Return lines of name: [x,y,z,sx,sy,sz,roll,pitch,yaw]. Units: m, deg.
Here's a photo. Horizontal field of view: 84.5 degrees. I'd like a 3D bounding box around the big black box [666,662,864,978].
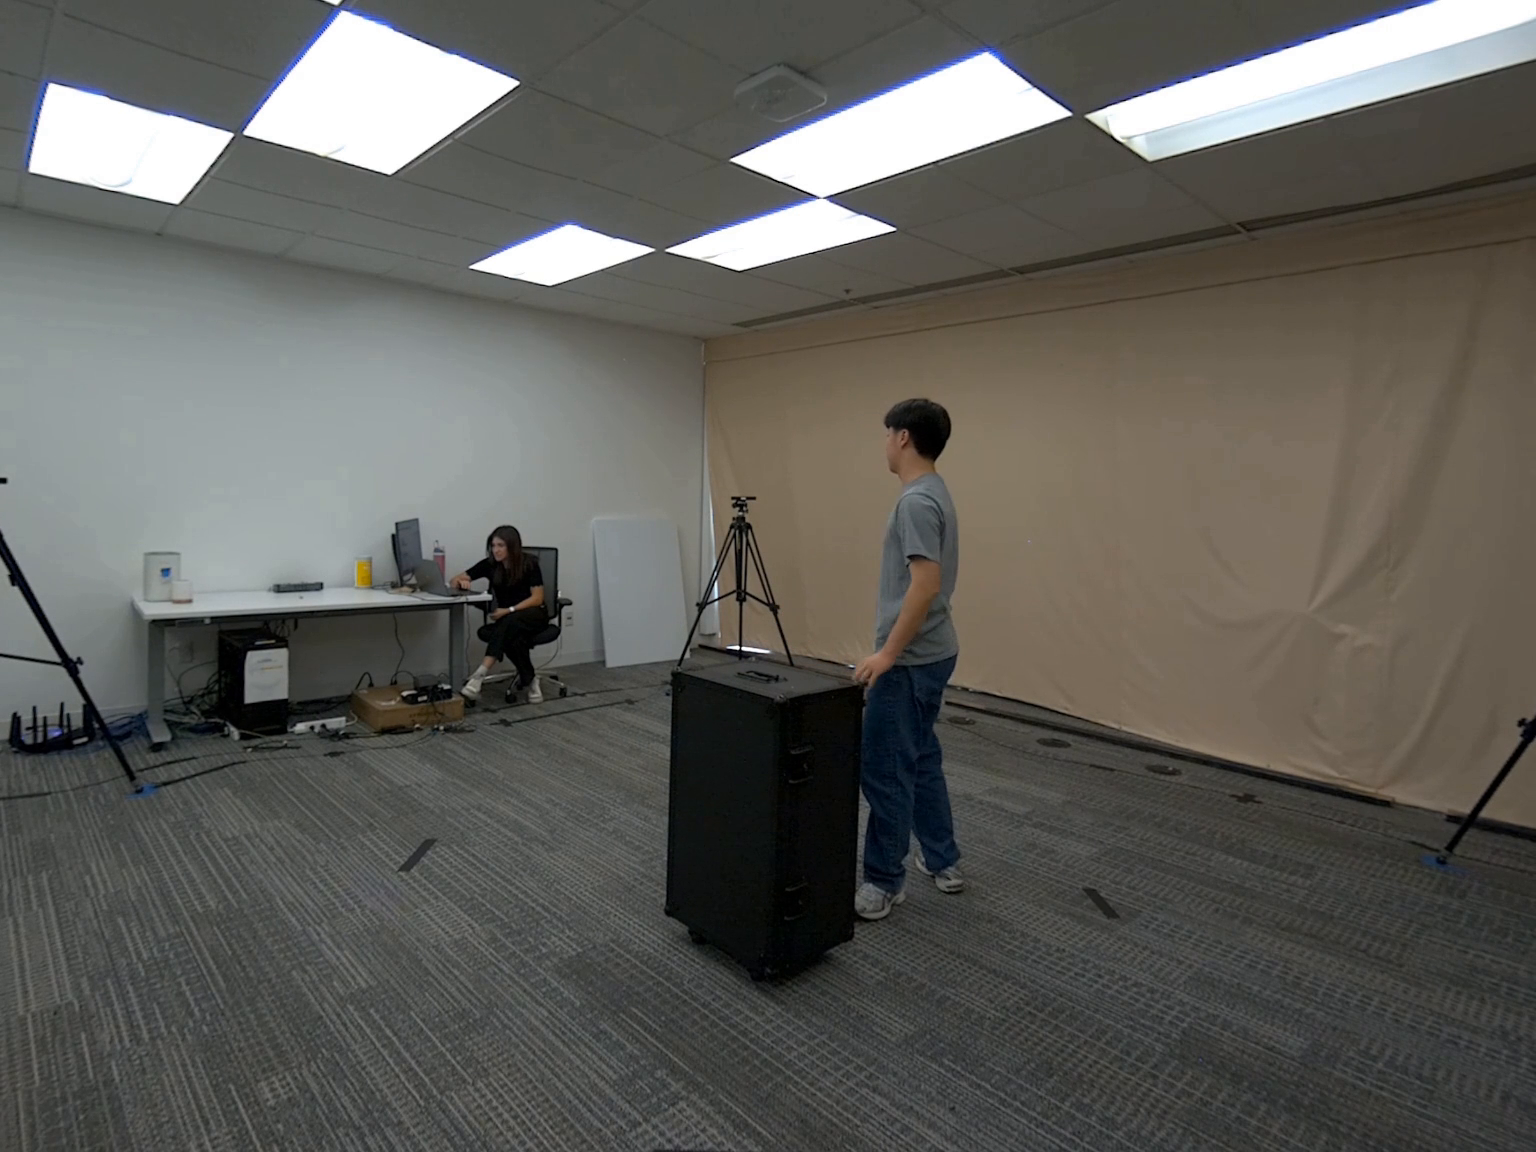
big black box: [-0.020,0.732,2.589,0.387,0.860,0.534,0,3,-44]
